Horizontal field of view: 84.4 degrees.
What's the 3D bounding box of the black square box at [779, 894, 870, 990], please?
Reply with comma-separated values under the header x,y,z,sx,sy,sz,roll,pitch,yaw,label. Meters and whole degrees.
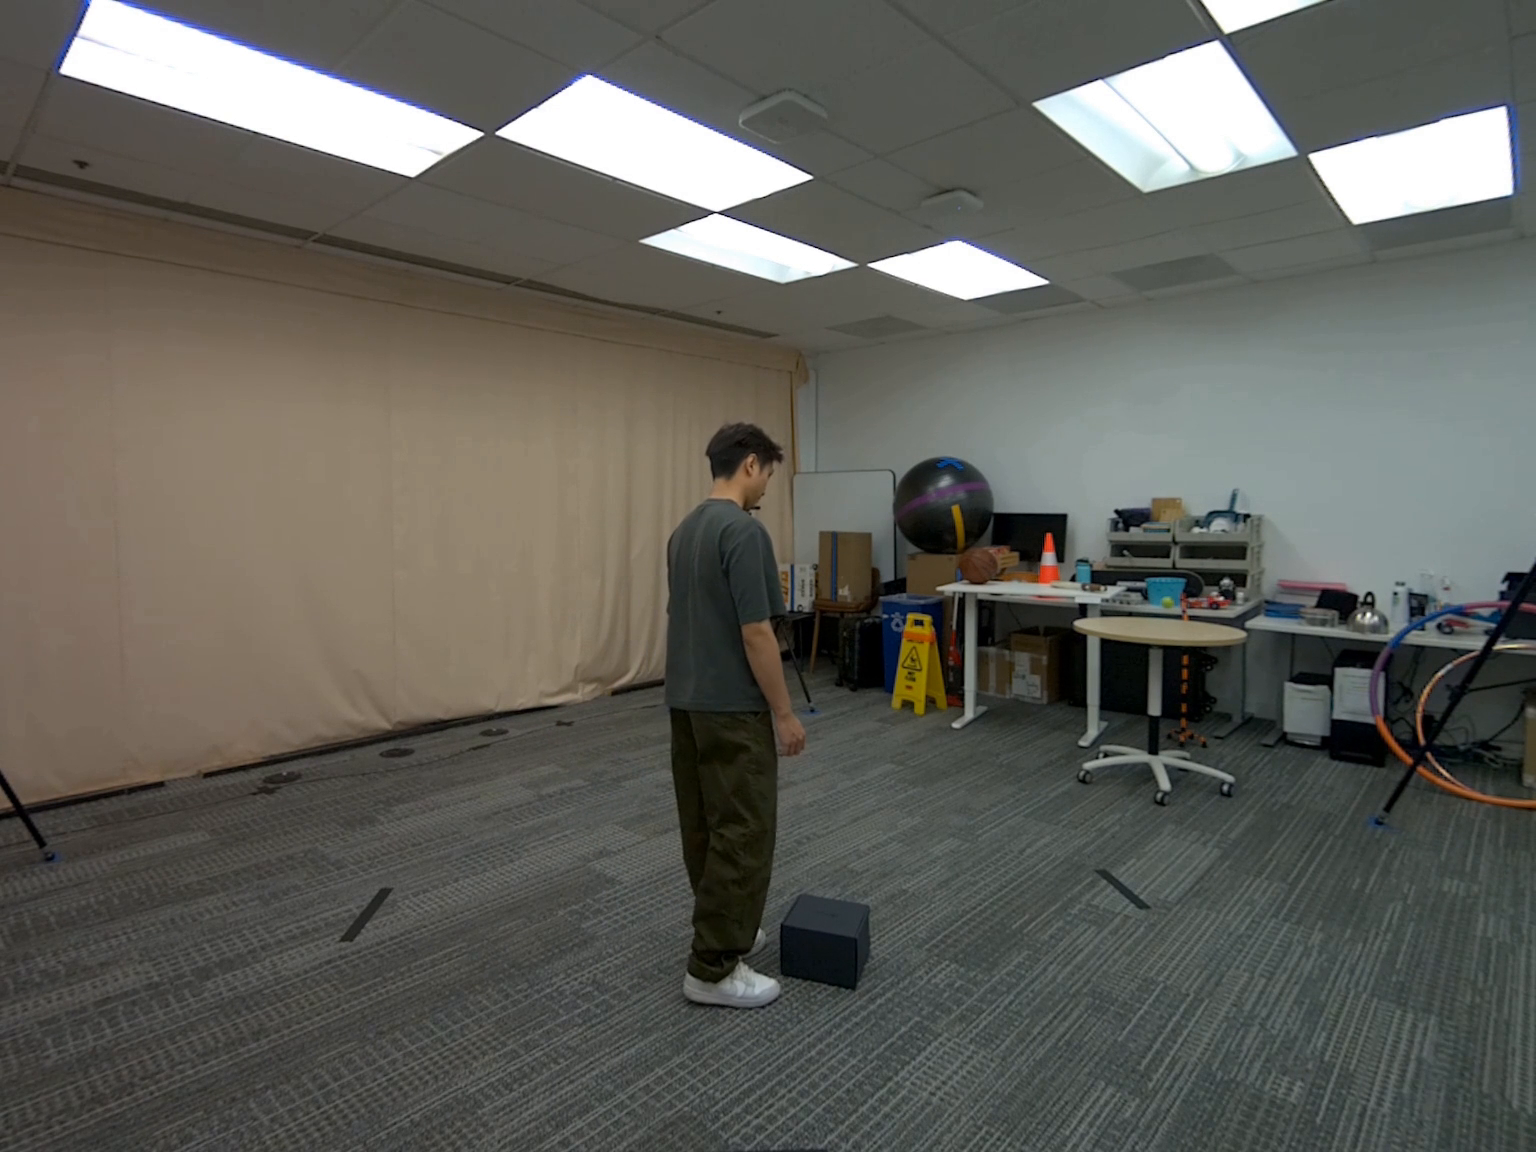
x,y,z,sx,sy,sz,roll,pitch,yaw,label
0.182,1.098,2.544,0.233,0.155,0.213,2,4,19,black square box
